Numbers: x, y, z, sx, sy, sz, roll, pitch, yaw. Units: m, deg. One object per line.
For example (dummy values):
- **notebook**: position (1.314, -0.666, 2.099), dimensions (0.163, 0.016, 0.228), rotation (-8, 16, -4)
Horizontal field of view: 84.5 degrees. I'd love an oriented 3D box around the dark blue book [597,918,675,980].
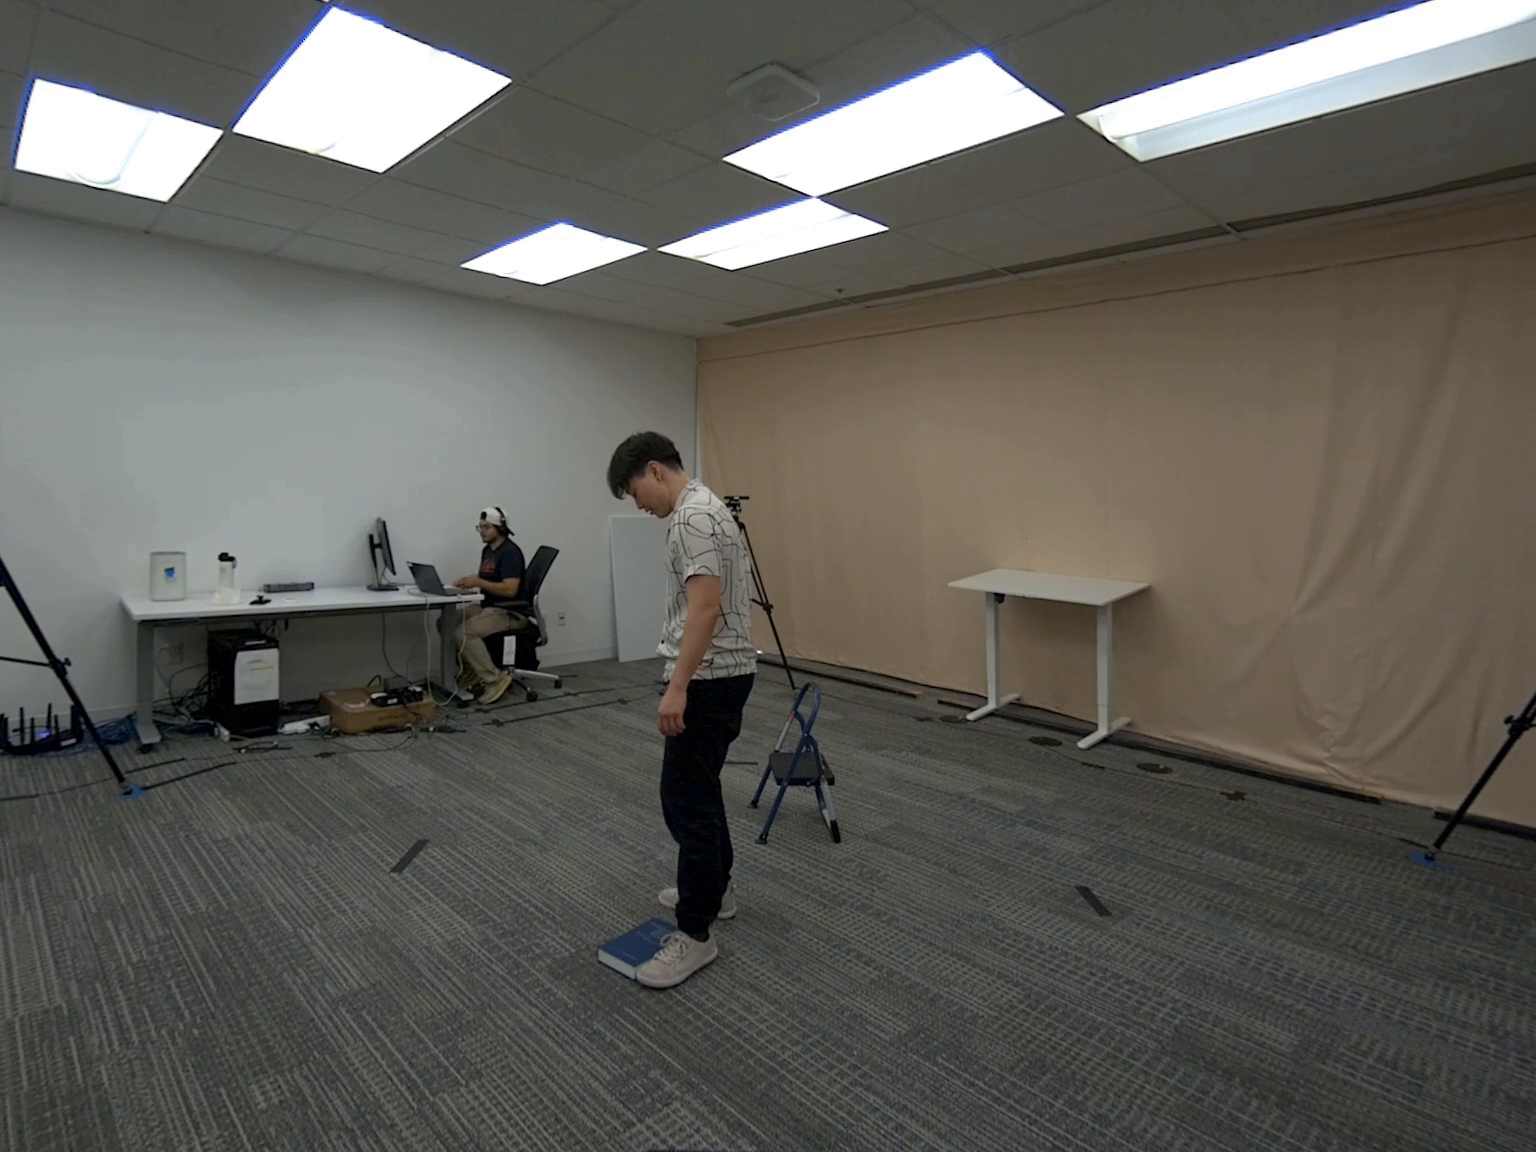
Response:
- **dark blue book**: position (-0.375, 1.127, 2.549), dimensions (0.167, 0.045, 0.240), rotation (5, 6, 38)
